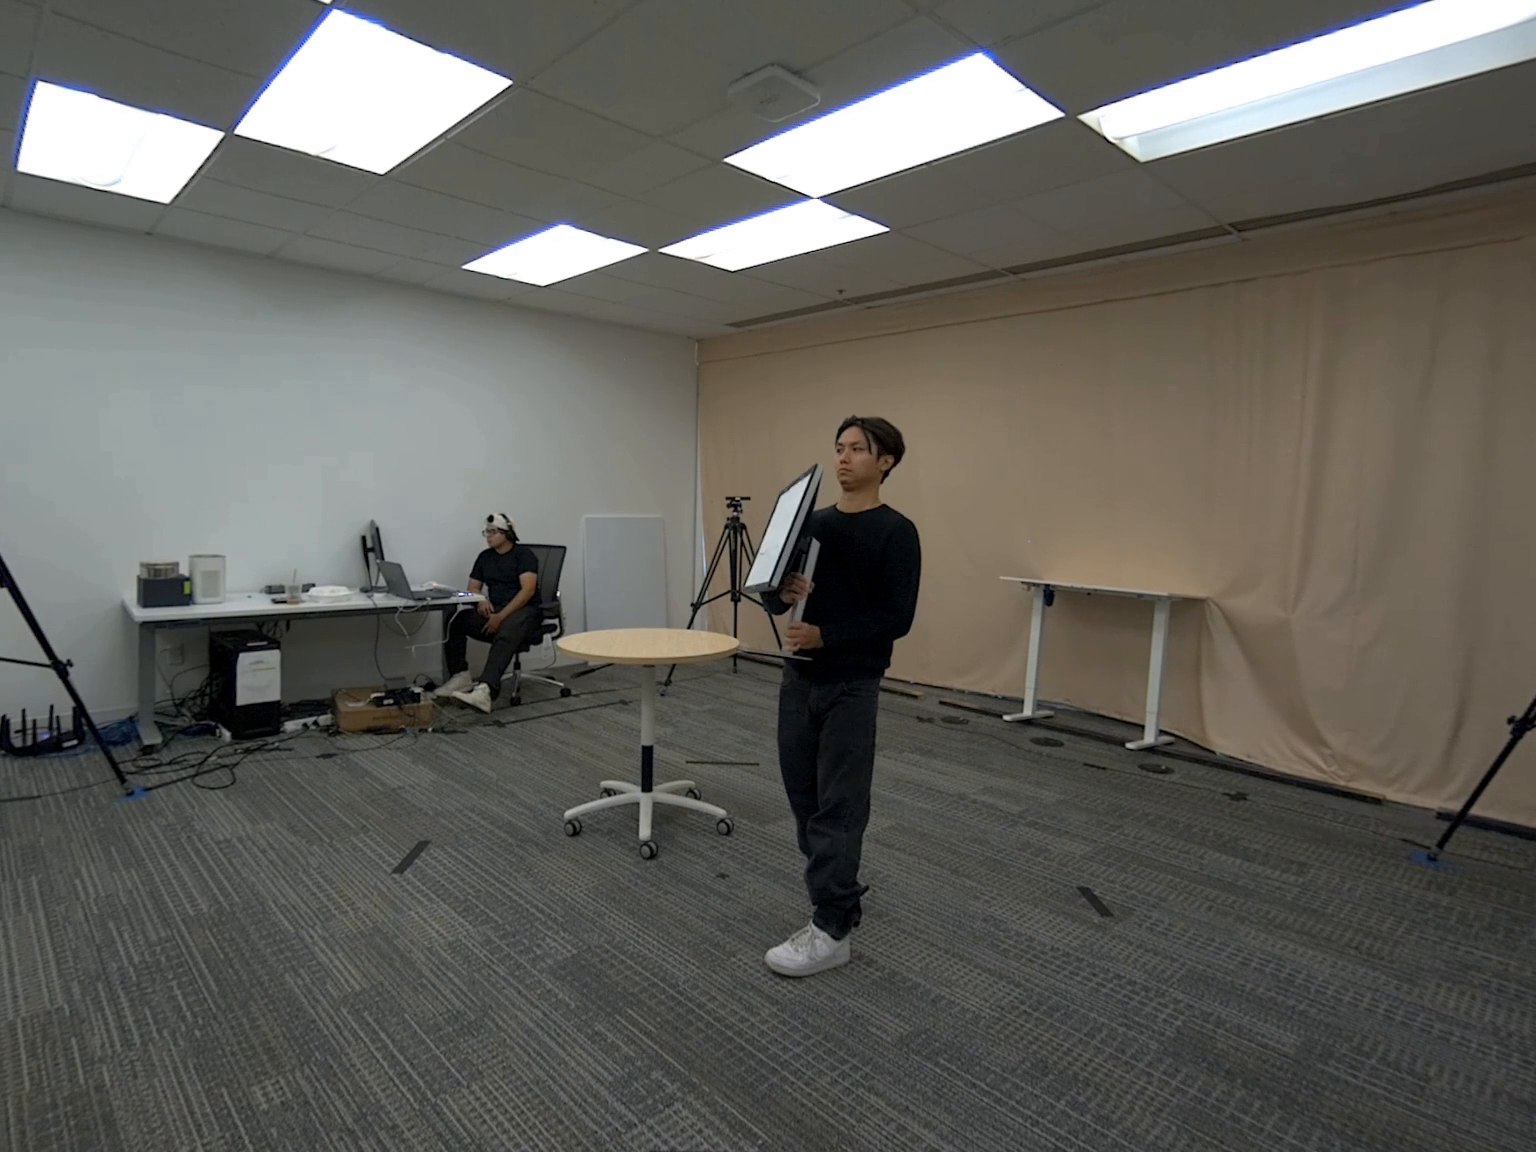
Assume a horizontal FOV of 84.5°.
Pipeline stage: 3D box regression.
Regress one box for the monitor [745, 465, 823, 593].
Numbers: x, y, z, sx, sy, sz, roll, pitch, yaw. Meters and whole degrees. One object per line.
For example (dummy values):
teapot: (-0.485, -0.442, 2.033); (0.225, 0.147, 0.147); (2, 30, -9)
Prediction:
monitor: (0.047, -0.033, 2.520); (0.173, 0.518, 0.532); (4, -5, -10)
